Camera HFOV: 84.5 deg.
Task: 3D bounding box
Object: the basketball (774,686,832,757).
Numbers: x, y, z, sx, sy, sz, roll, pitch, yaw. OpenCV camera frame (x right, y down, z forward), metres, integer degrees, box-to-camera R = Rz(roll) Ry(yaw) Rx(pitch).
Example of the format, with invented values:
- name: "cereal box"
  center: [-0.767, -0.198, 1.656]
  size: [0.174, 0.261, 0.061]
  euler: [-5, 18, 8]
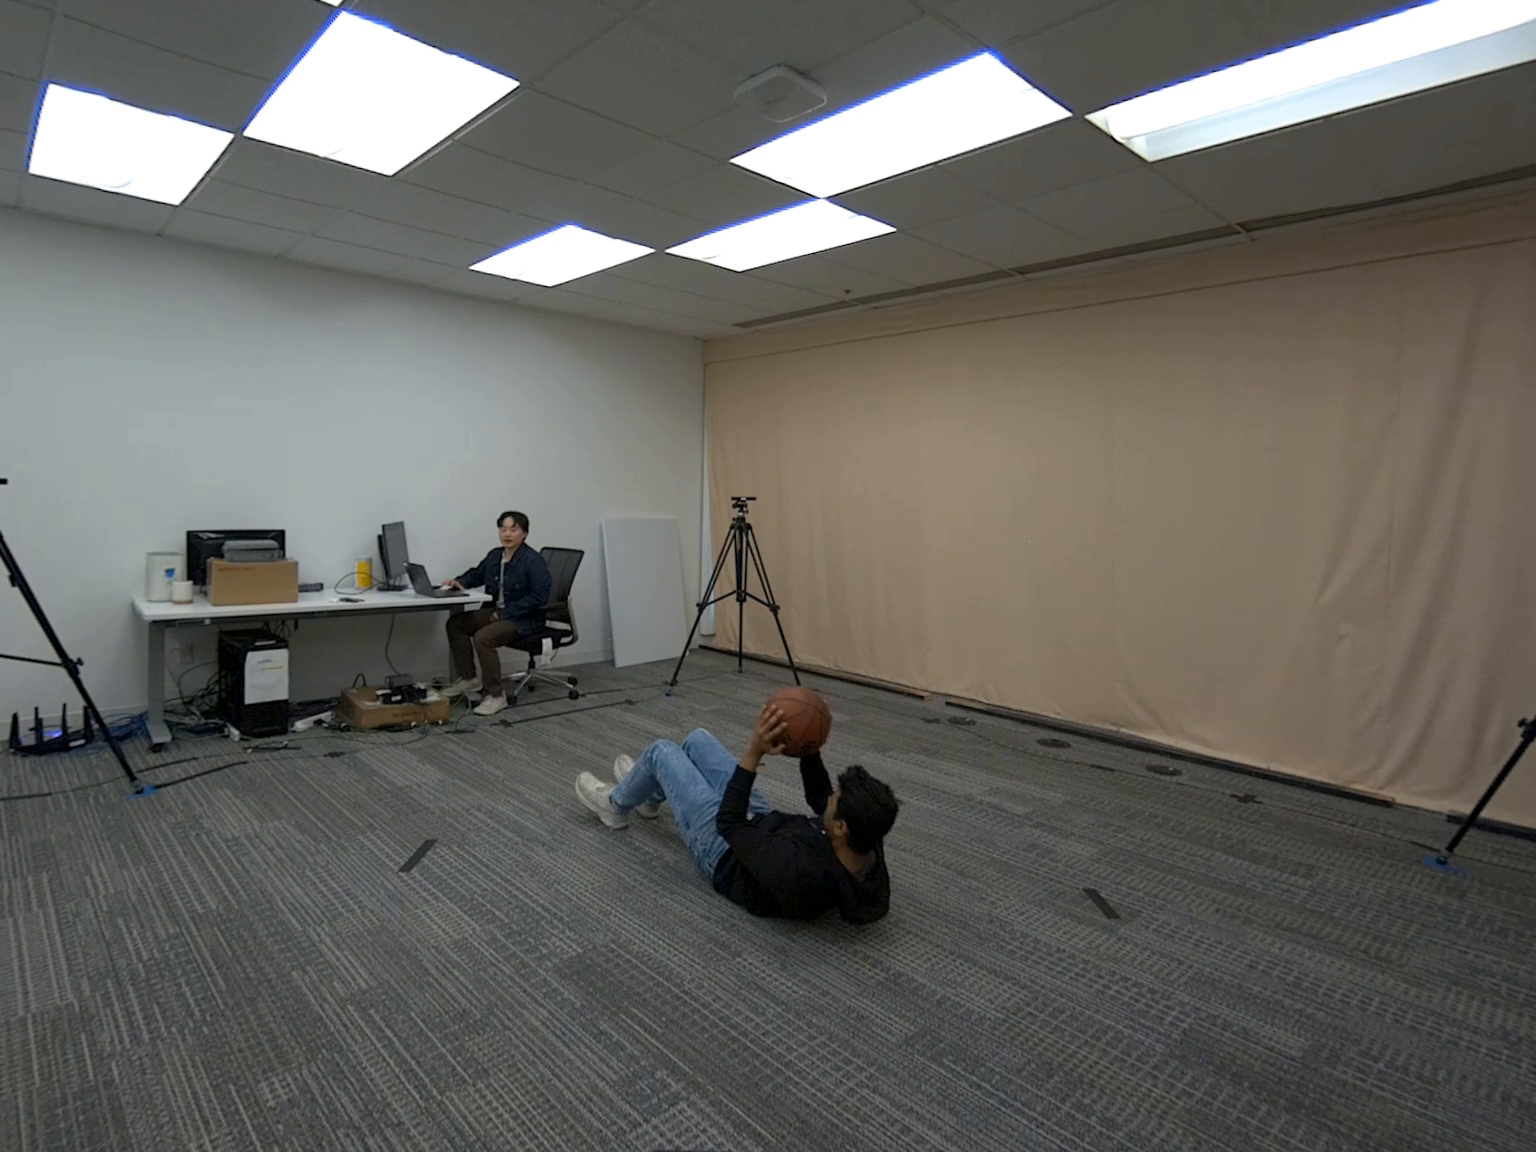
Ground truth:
- name: "basketball"
  center: [0.177, 0.524, 2.825]
  size: [0.236, 0.235, 0.237]
  euler: [1, 4, -1]
